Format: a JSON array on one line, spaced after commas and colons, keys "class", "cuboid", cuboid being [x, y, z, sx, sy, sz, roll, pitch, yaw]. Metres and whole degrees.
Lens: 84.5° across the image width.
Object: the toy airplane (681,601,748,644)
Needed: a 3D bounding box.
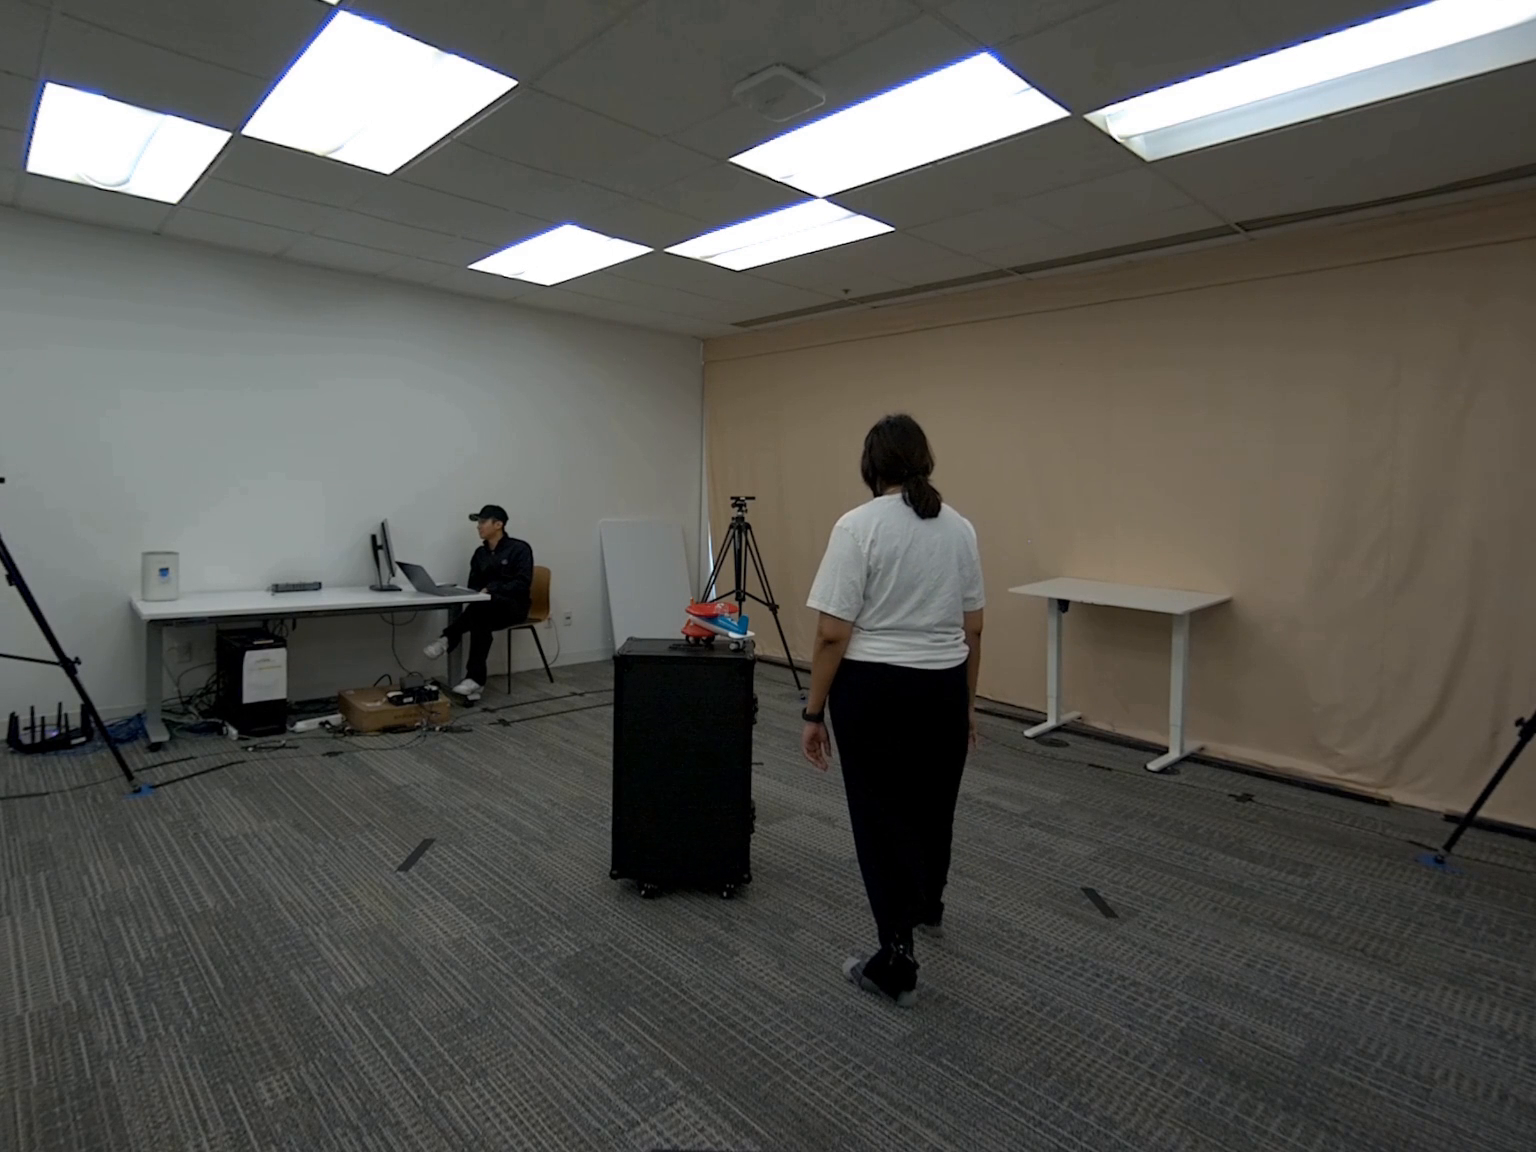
[{"class": "toy airplane", "cuboid": [-0.183, 0.178, 3.055, 0.261, 0.156, 0.250, 1, 5, 7]}]
